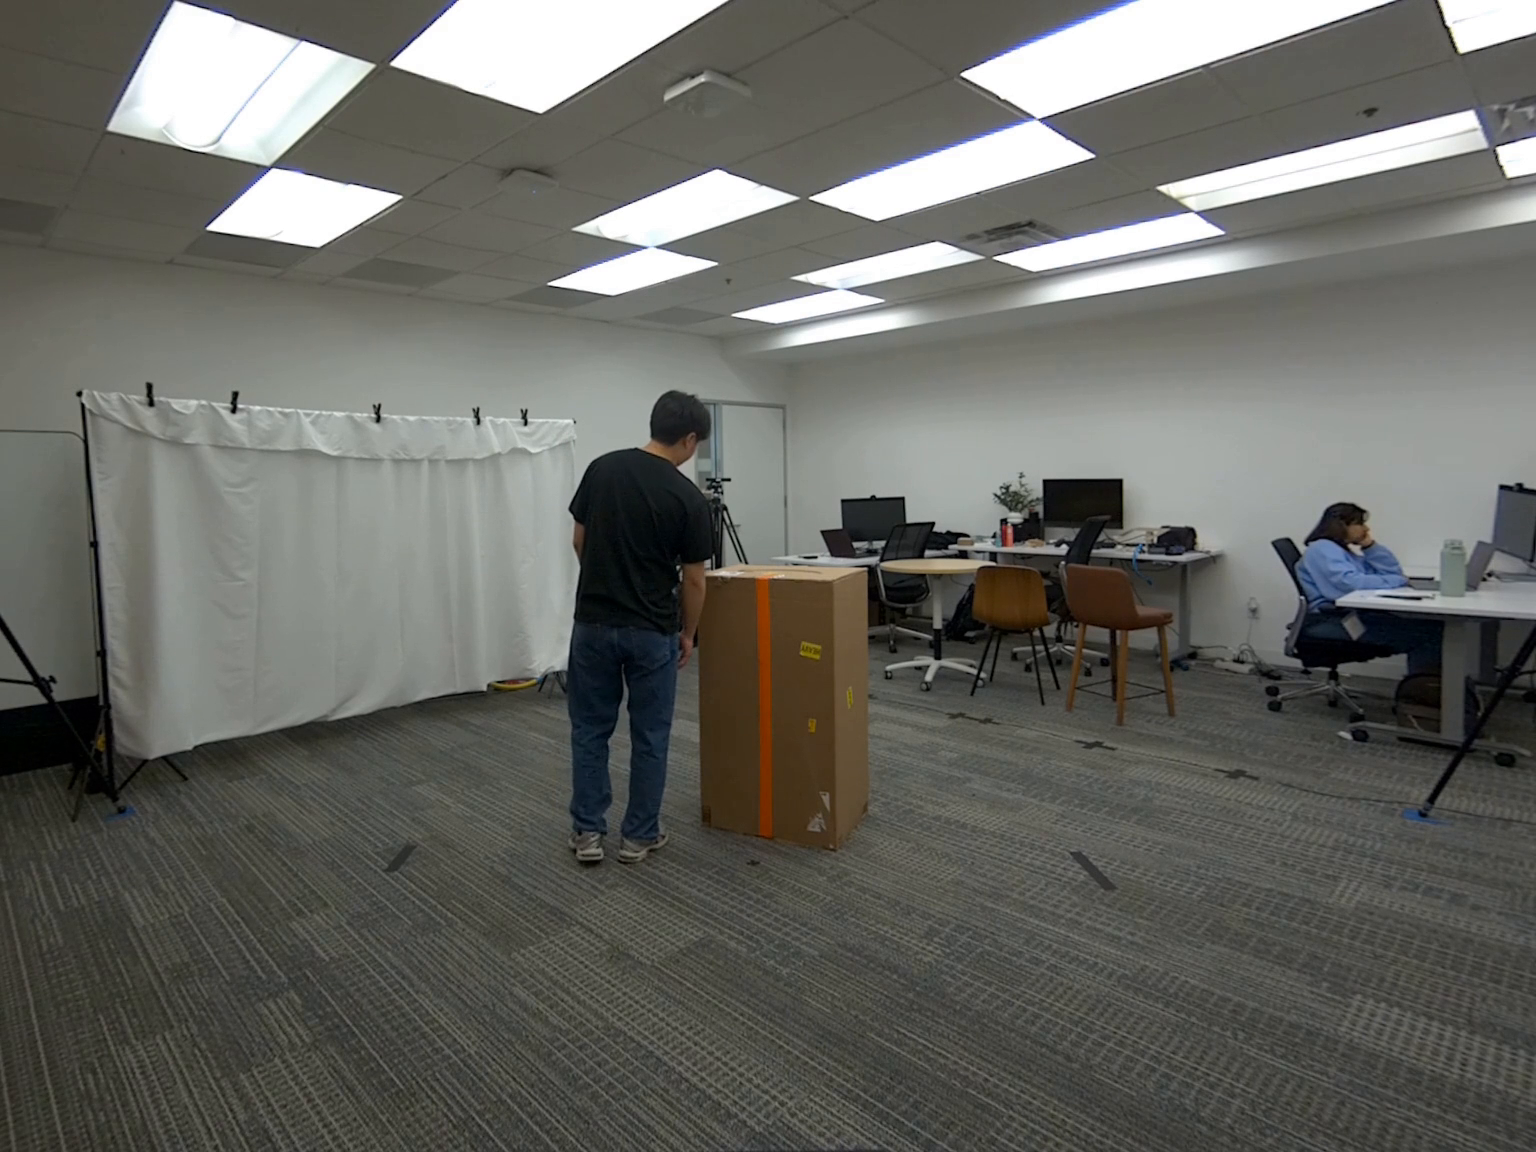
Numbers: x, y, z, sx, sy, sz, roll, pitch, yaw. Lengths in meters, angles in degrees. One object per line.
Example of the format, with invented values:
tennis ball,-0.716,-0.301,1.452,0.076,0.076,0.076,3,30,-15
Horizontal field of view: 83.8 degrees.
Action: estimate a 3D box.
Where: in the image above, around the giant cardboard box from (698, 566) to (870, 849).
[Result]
giant cardboard box,0.073,0.484,3.473,0.598,1.022,0.438,2,6,27
